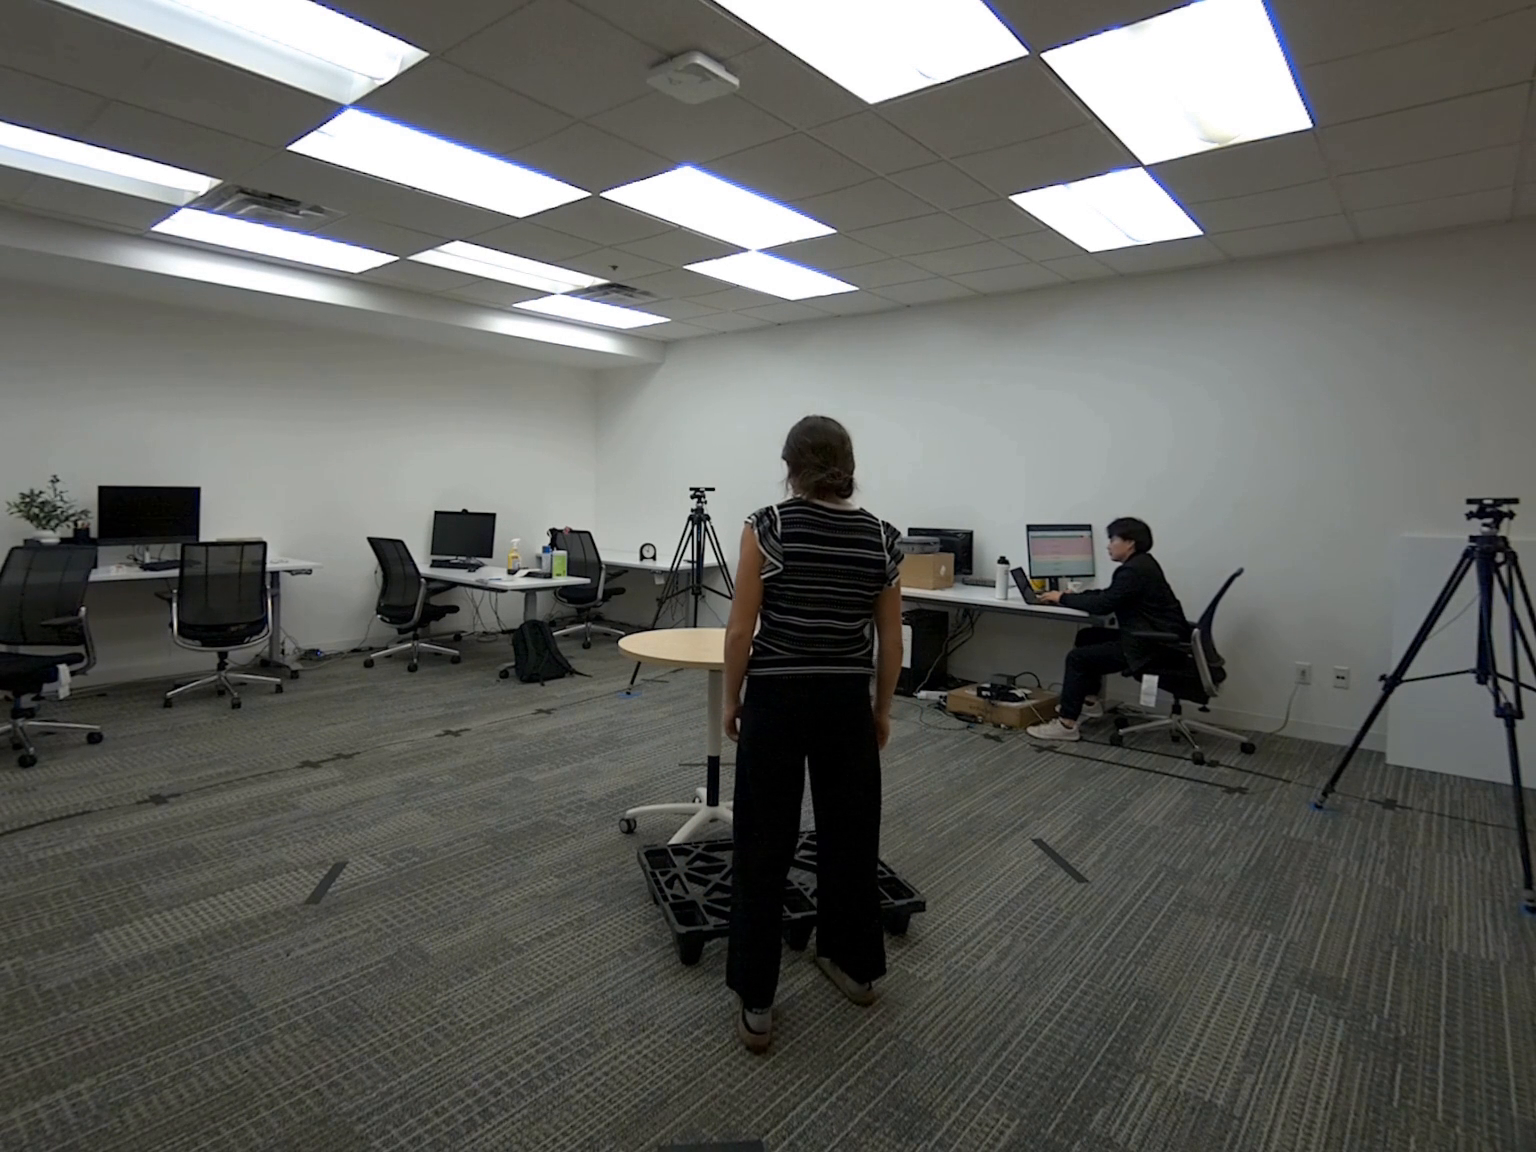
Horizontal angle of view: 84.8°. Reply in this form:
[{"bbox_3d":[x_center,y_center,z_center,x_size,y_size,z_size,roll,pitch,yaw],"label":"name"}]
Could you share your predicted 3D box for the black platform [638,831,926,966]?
[{"bbox_3d":[0.001,1.034,2.798,0.791,0.143,0.618,0,5,-18],"label":"black platform"}]
